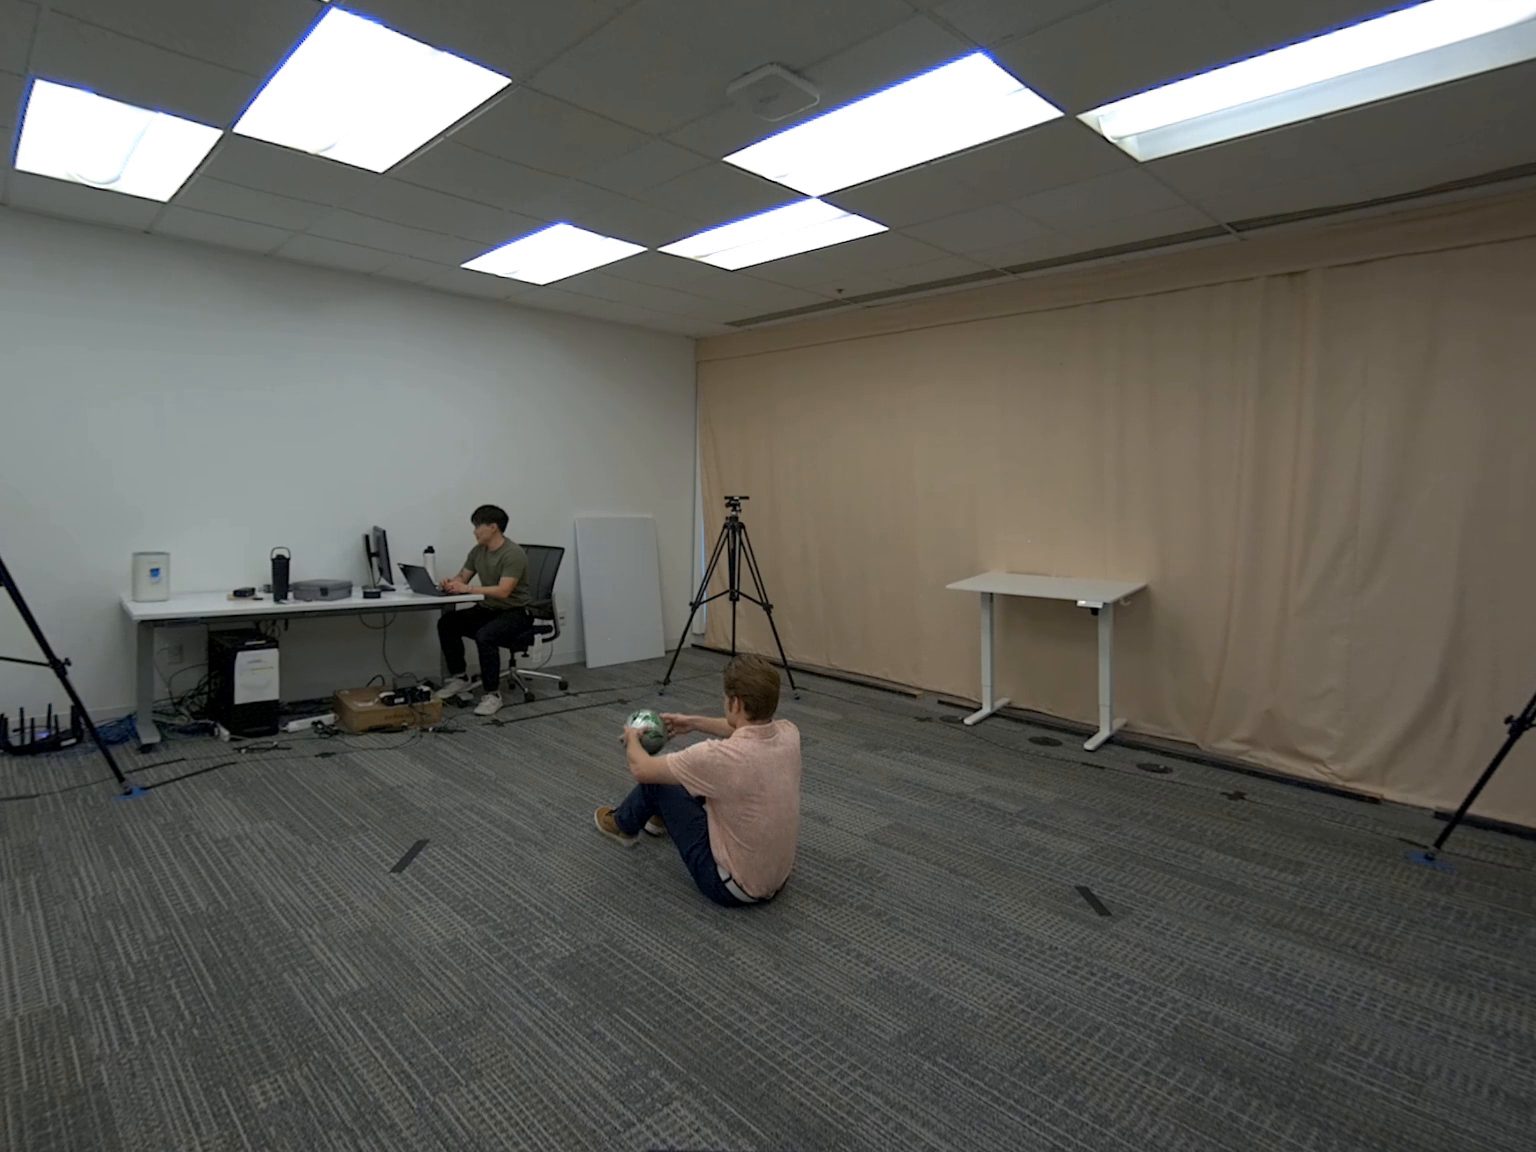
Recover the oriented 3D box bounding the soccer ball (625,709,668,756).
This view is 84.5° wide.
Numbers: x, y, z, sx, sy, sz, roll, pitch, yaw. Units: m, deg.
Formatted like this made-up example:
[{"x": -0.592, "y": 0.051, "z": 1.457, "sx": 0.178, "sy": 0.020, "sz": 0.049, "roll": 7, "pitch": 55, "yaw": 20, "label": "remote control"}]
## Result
[{"x": -0.503, "y": 0.632, "z": 3.380, "sx": 0.187, "sy": 0.187, "sz": 0.188, "roll": 1, "pitch": 4, "yaw": -1, "label": "soccer ball"}]
